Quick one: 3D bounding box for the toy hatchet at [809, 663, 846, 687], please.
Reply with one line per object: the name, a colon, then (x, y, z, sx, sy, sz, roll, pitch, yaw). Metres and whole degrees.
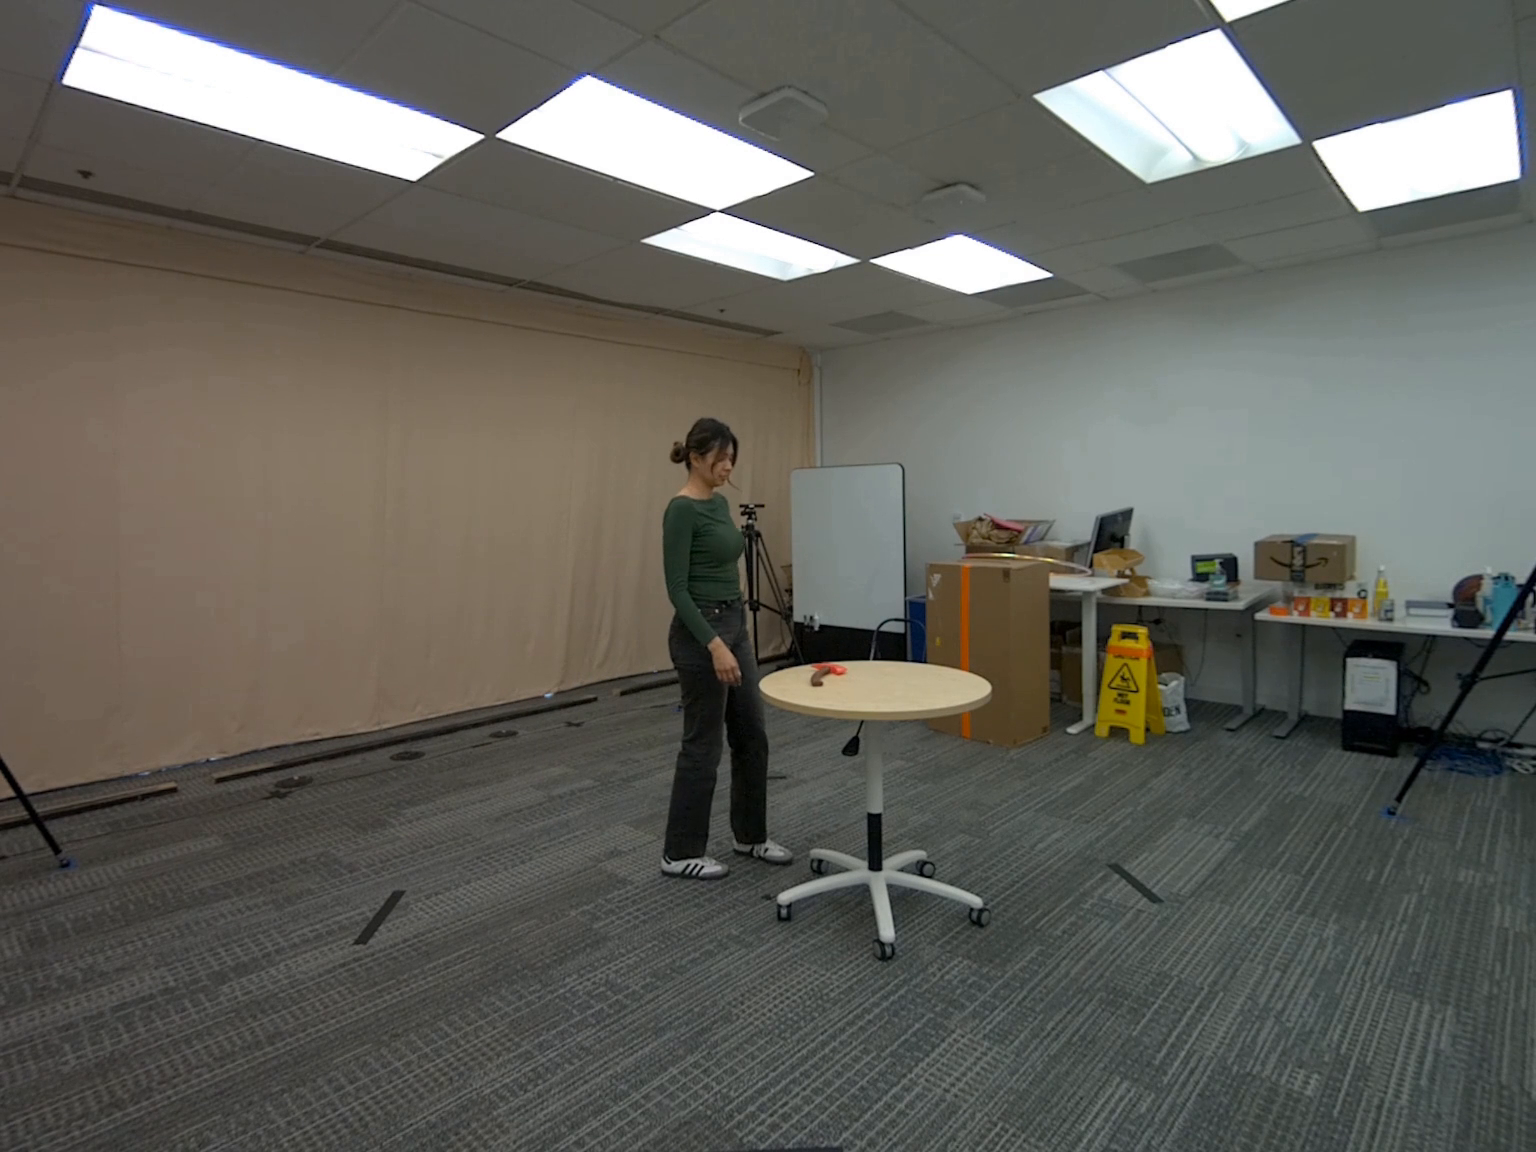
toy hatchet: (0.213, 0.348, 2.938, 0.132, 0.029, 0.270, 3, 7, 3)
